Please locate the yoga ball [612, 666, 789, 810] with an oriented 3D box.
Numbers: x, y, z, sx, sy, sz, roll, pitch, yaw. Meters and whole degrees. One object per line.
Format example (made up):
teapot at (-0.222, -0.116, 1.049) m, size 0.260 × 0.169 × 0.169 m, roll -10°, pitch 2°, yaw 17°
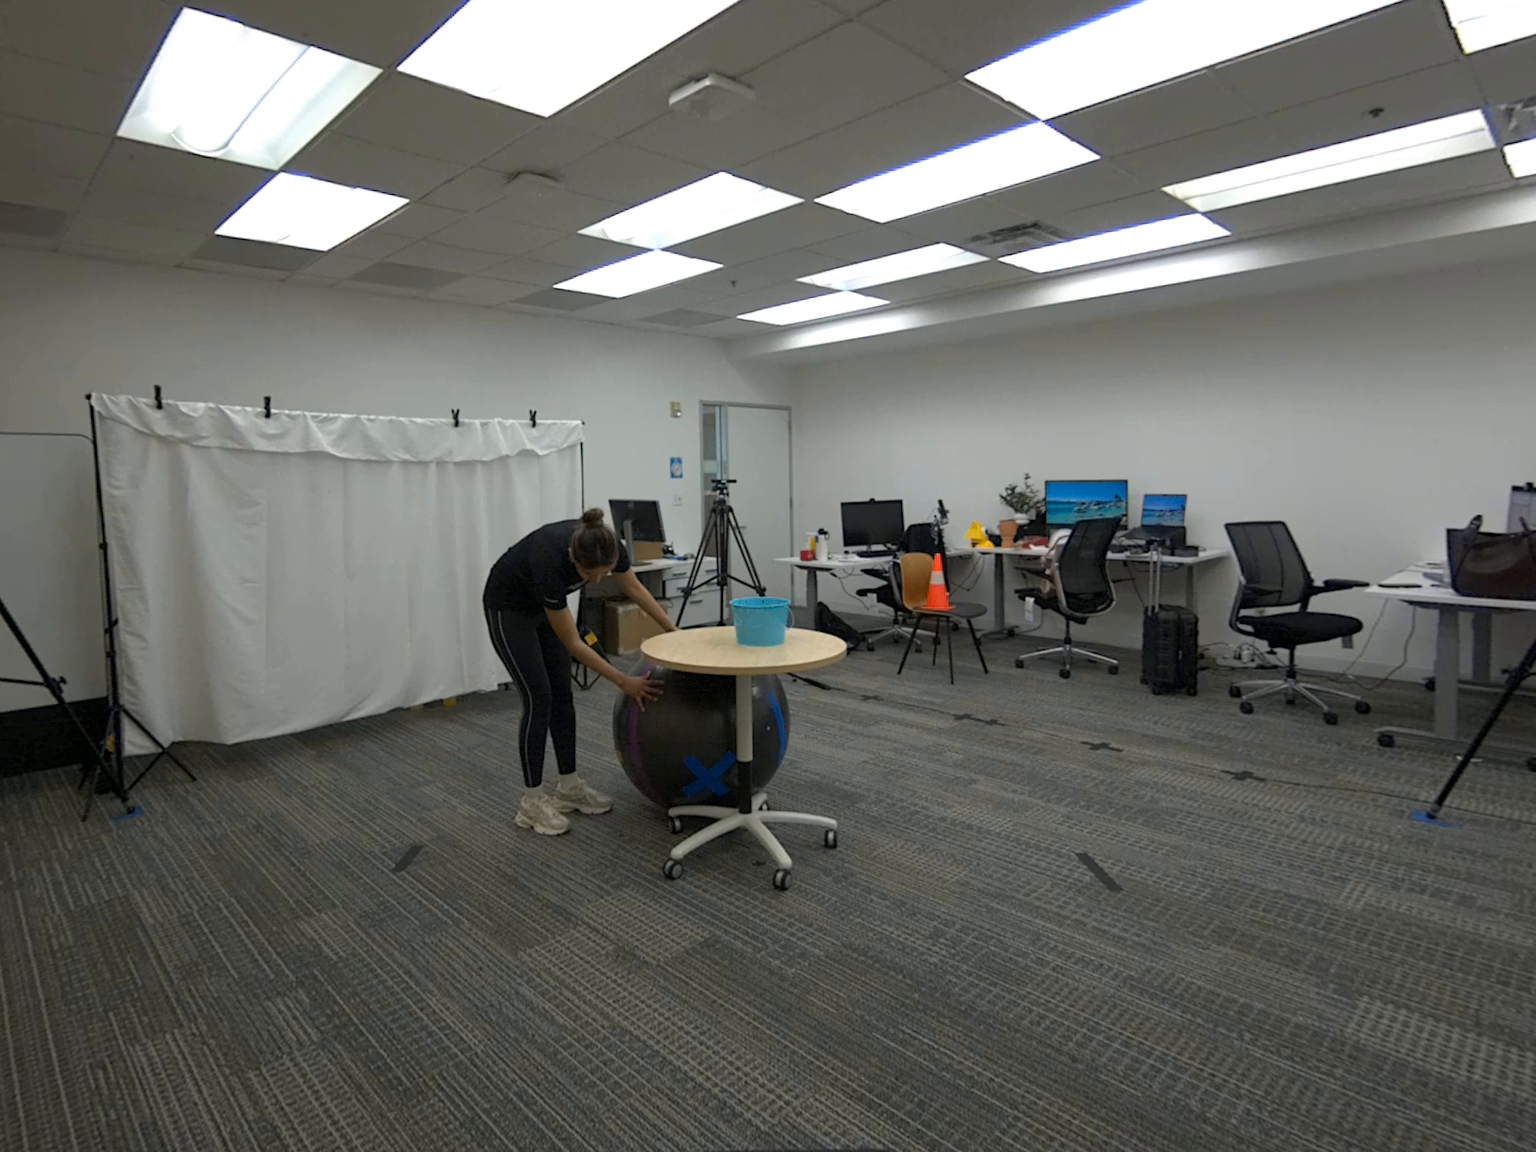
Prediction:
yoga ball at (-0.284, 0.634, 3.659) m, size 0.757 × 0.755 × 0.762 m, roll -1°, pitch 5°, yaw -2°
